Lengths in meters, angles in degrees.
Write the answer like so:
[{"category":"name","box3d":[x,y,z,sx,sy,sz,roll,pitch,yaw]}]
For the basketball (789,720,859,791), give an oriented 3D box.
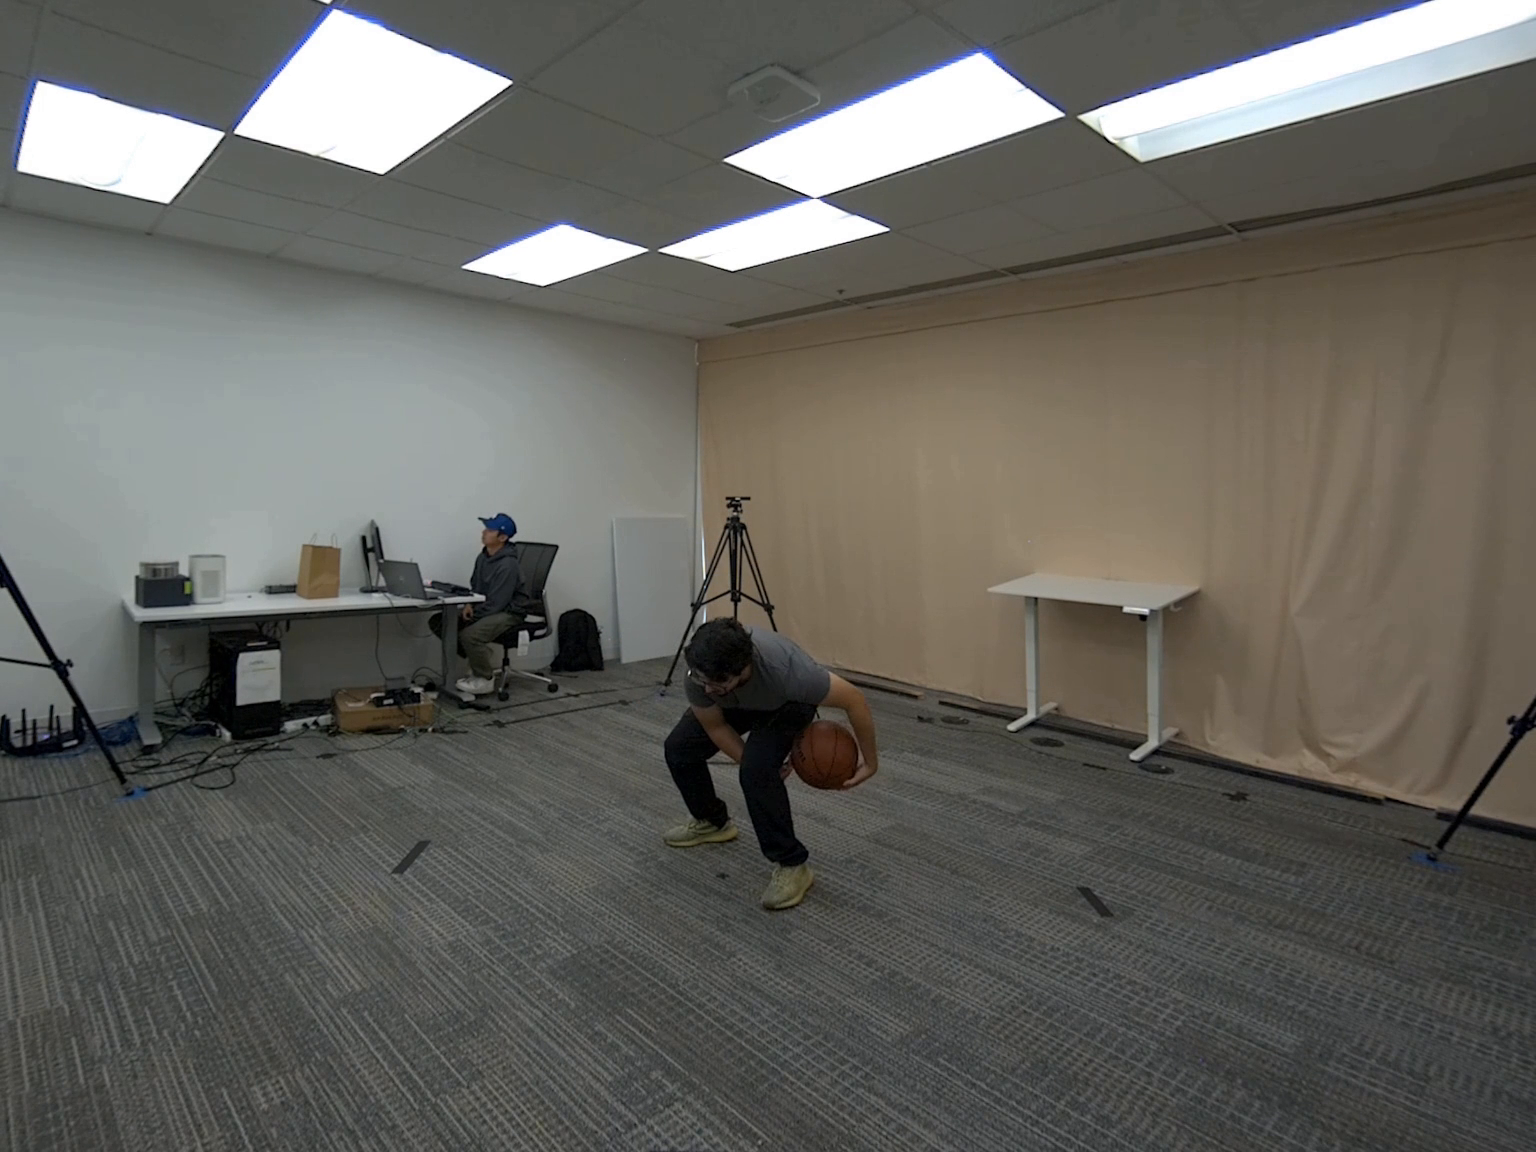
[{"category":"basketball","box3d":[0.198,0.635,2.971,0.236,0.235,0.237,1,4,-1]}]
